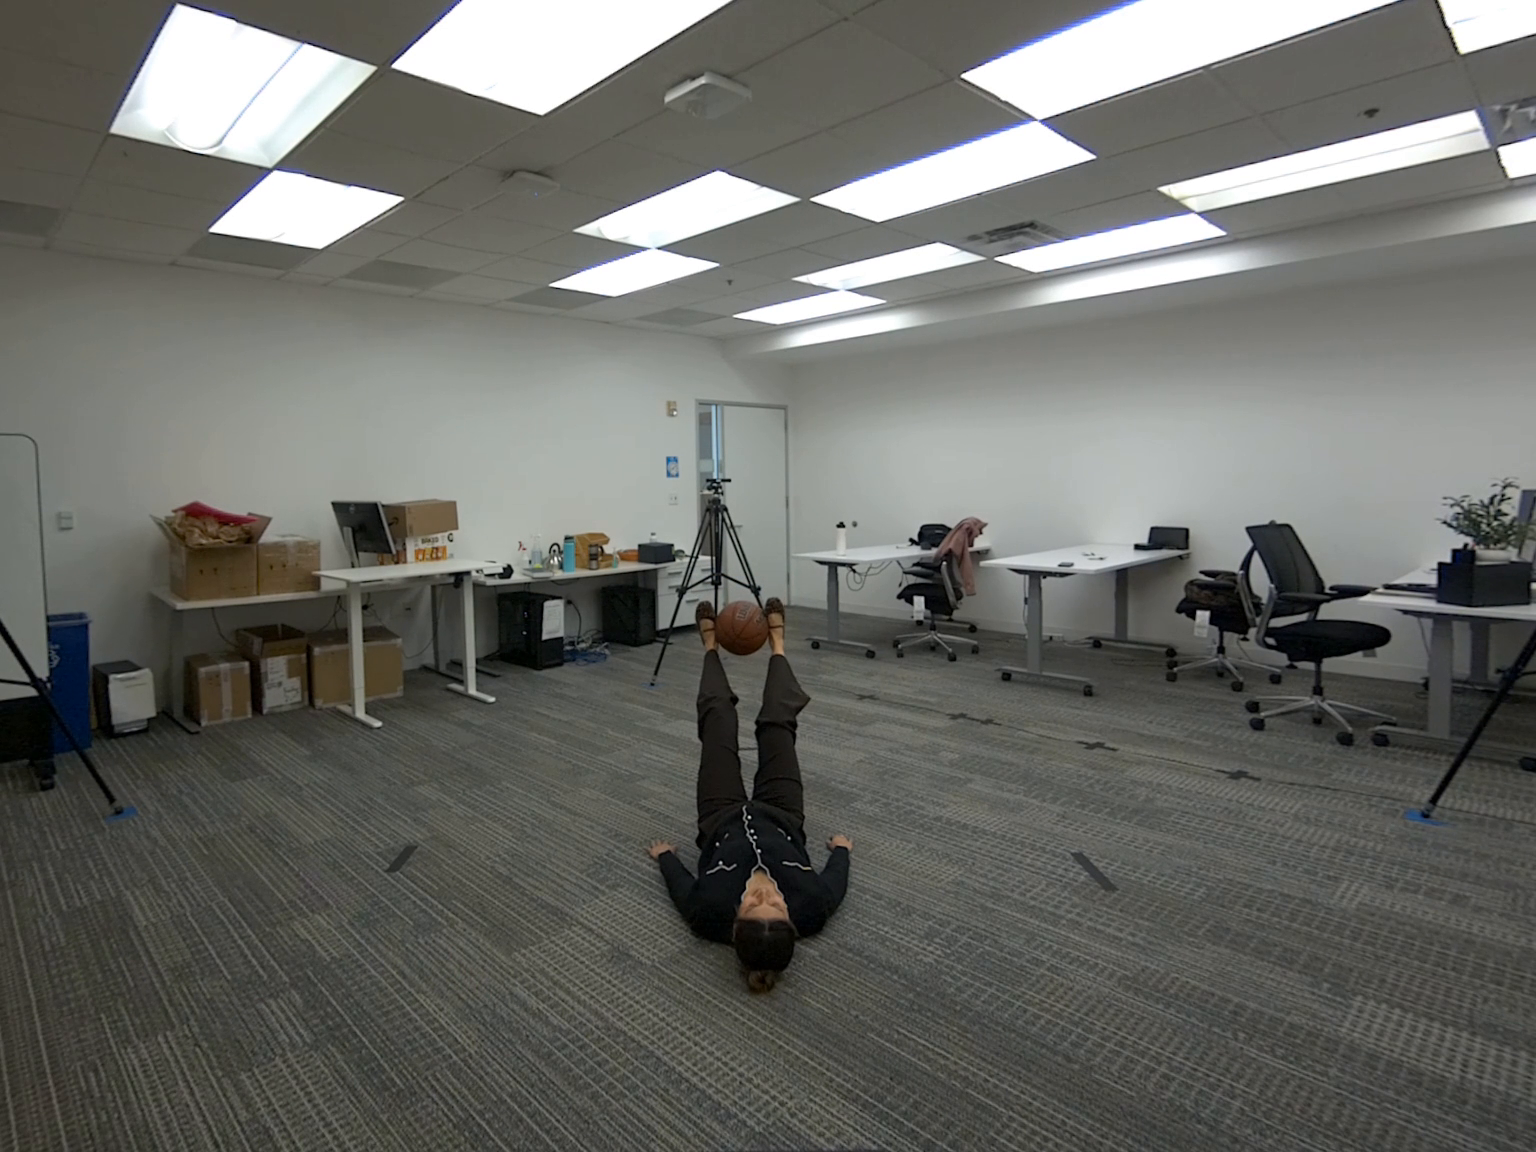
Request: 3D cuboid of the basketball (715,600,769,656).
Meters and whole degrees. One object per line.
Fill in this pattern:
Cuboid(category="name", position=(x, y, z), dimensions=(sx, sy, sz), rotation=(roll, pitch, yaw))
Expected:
Cuboid(category="basketball", position=(-0.112, 0.221, 3.707), dimensions=(0.236, 0.235, 0.237), rotation=(-4, 4, -1))
